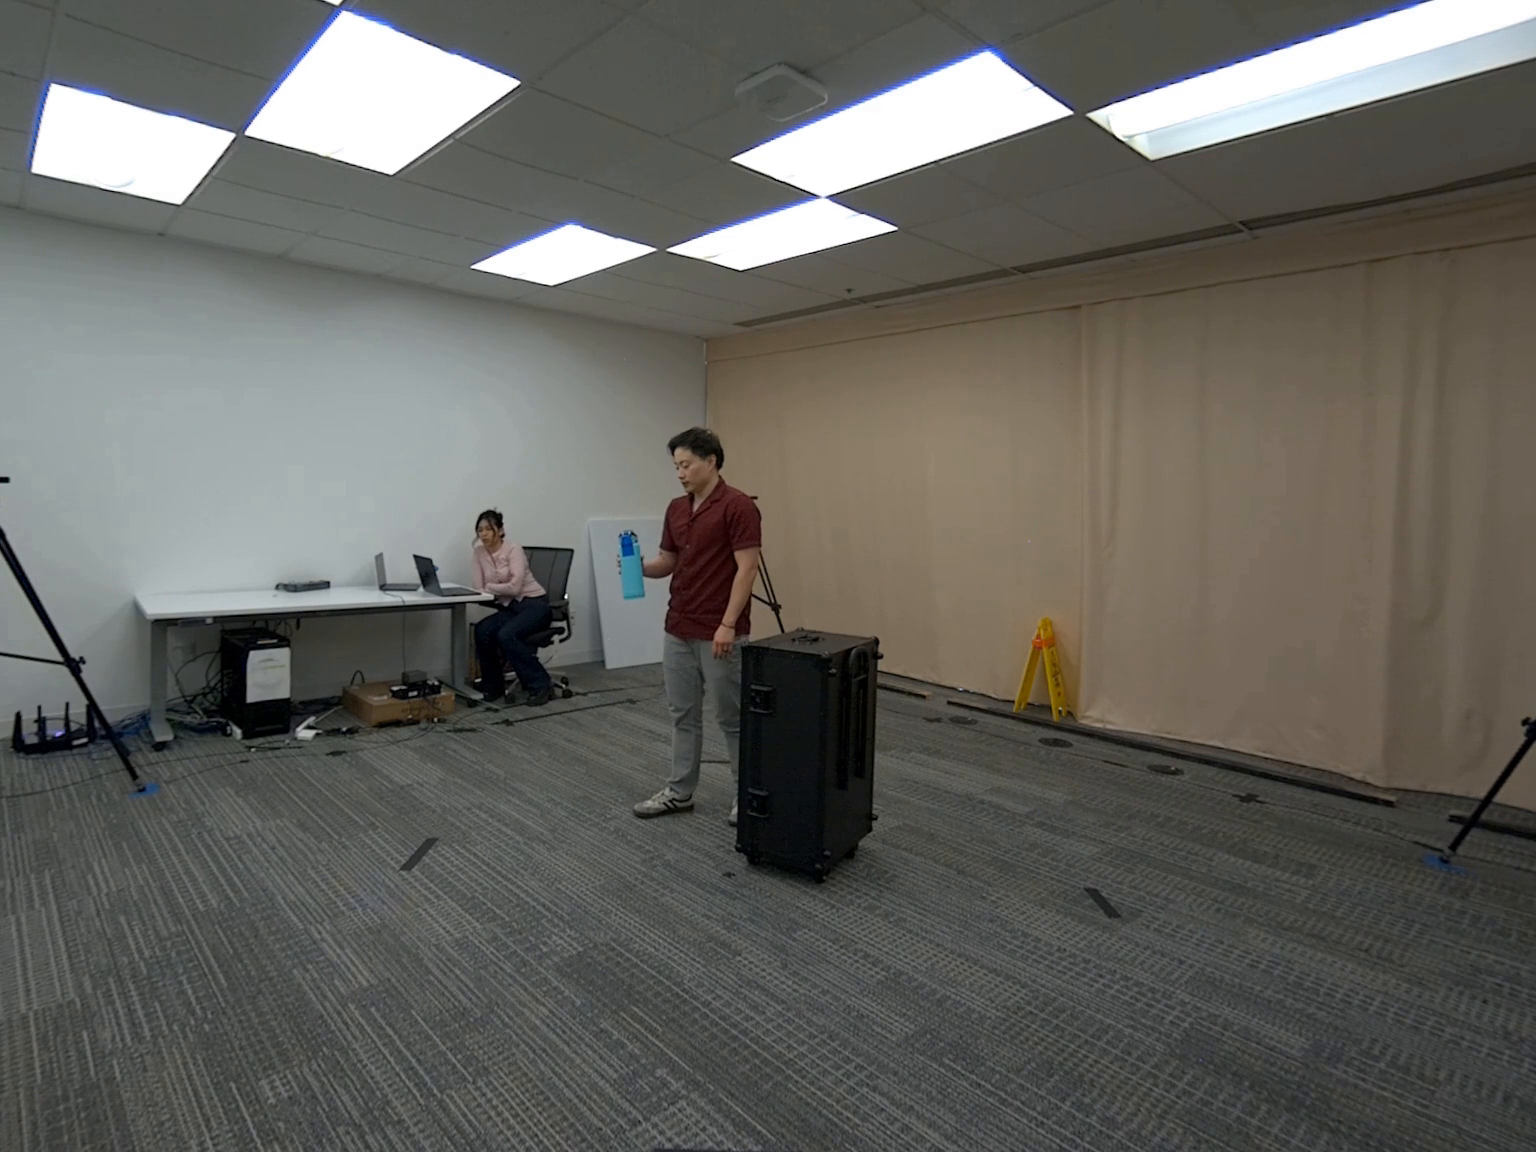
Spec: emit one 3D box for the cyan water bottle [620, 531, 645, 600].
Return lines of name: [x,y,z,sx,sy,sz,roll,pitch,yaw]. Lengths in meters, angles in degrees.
cyan water bottle: [-0.575,-0.048,3.468,0.092,0.283,0.092,-7,1,-1]
